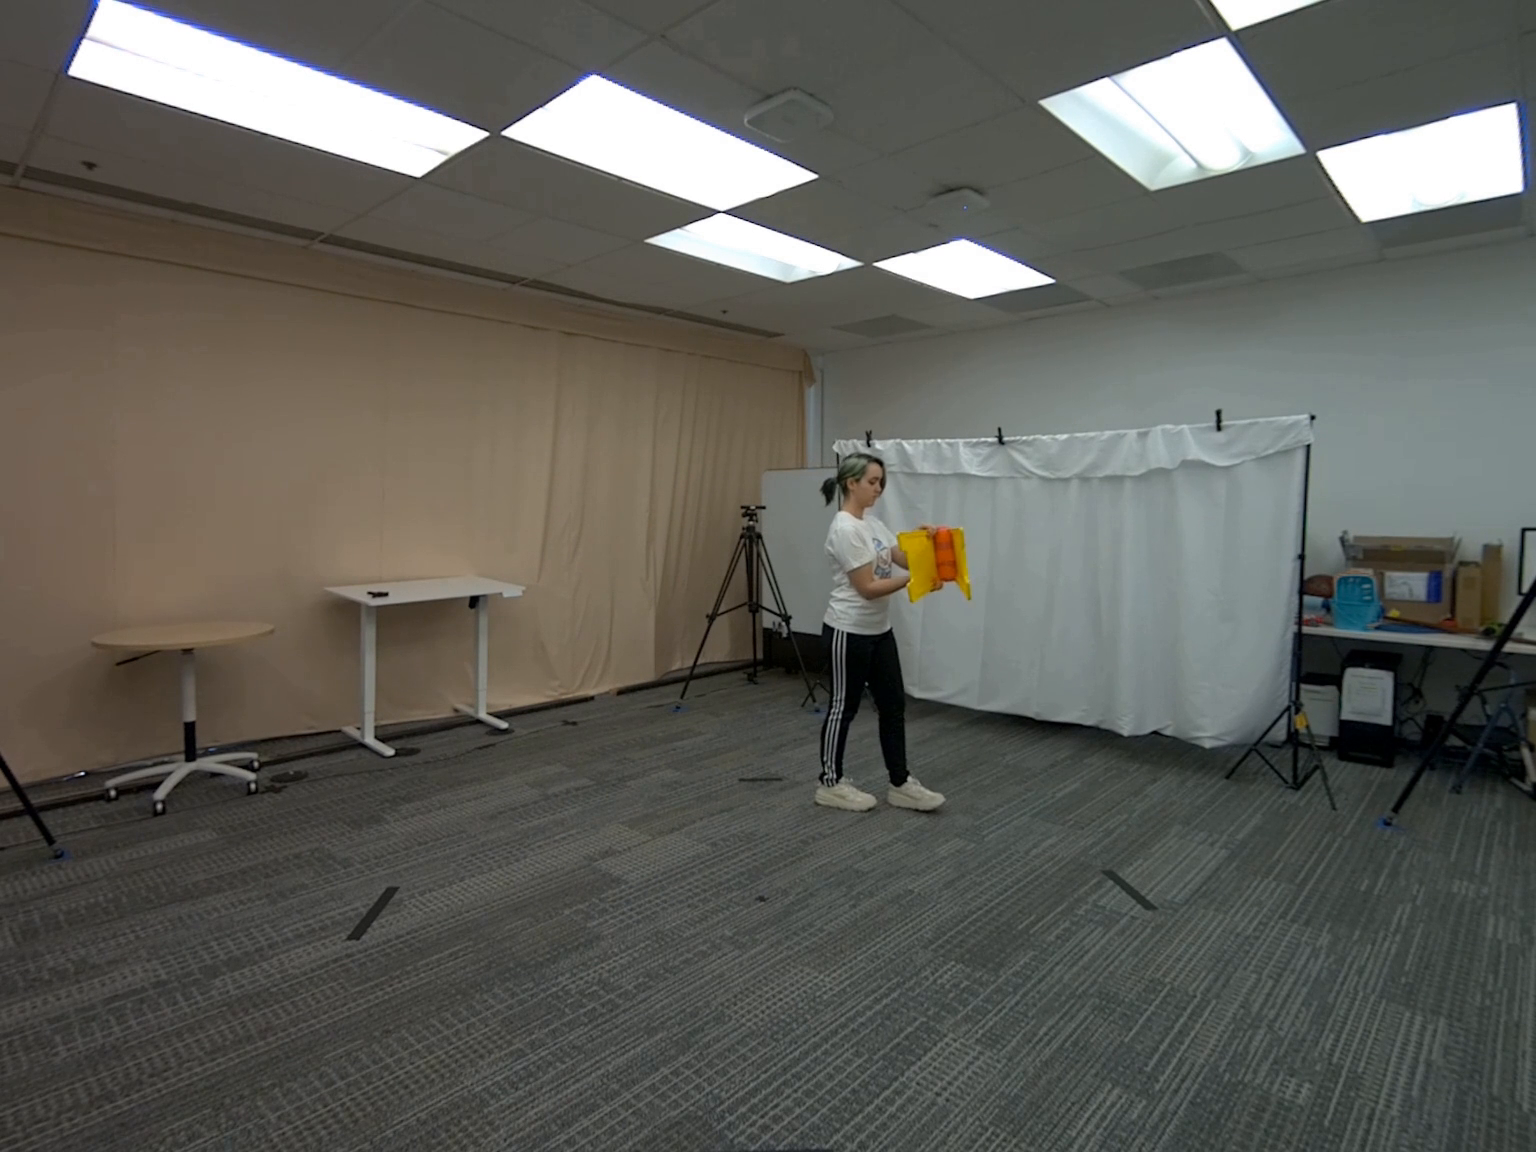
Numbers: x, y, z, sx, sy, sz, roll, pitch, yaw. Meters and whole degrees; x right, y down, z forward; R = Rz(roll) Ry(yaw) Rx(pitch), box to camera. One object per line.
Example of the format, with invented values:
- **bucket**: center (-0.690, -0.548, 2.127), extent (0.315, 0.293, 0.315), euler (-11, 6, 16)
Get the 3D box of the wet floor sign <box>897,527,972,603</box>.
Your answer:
- **wet floor sign**: center (0.729, -0.075, 3.529), extent (0.295, 0.281, 0.635), euler (-5, 4, 19)
